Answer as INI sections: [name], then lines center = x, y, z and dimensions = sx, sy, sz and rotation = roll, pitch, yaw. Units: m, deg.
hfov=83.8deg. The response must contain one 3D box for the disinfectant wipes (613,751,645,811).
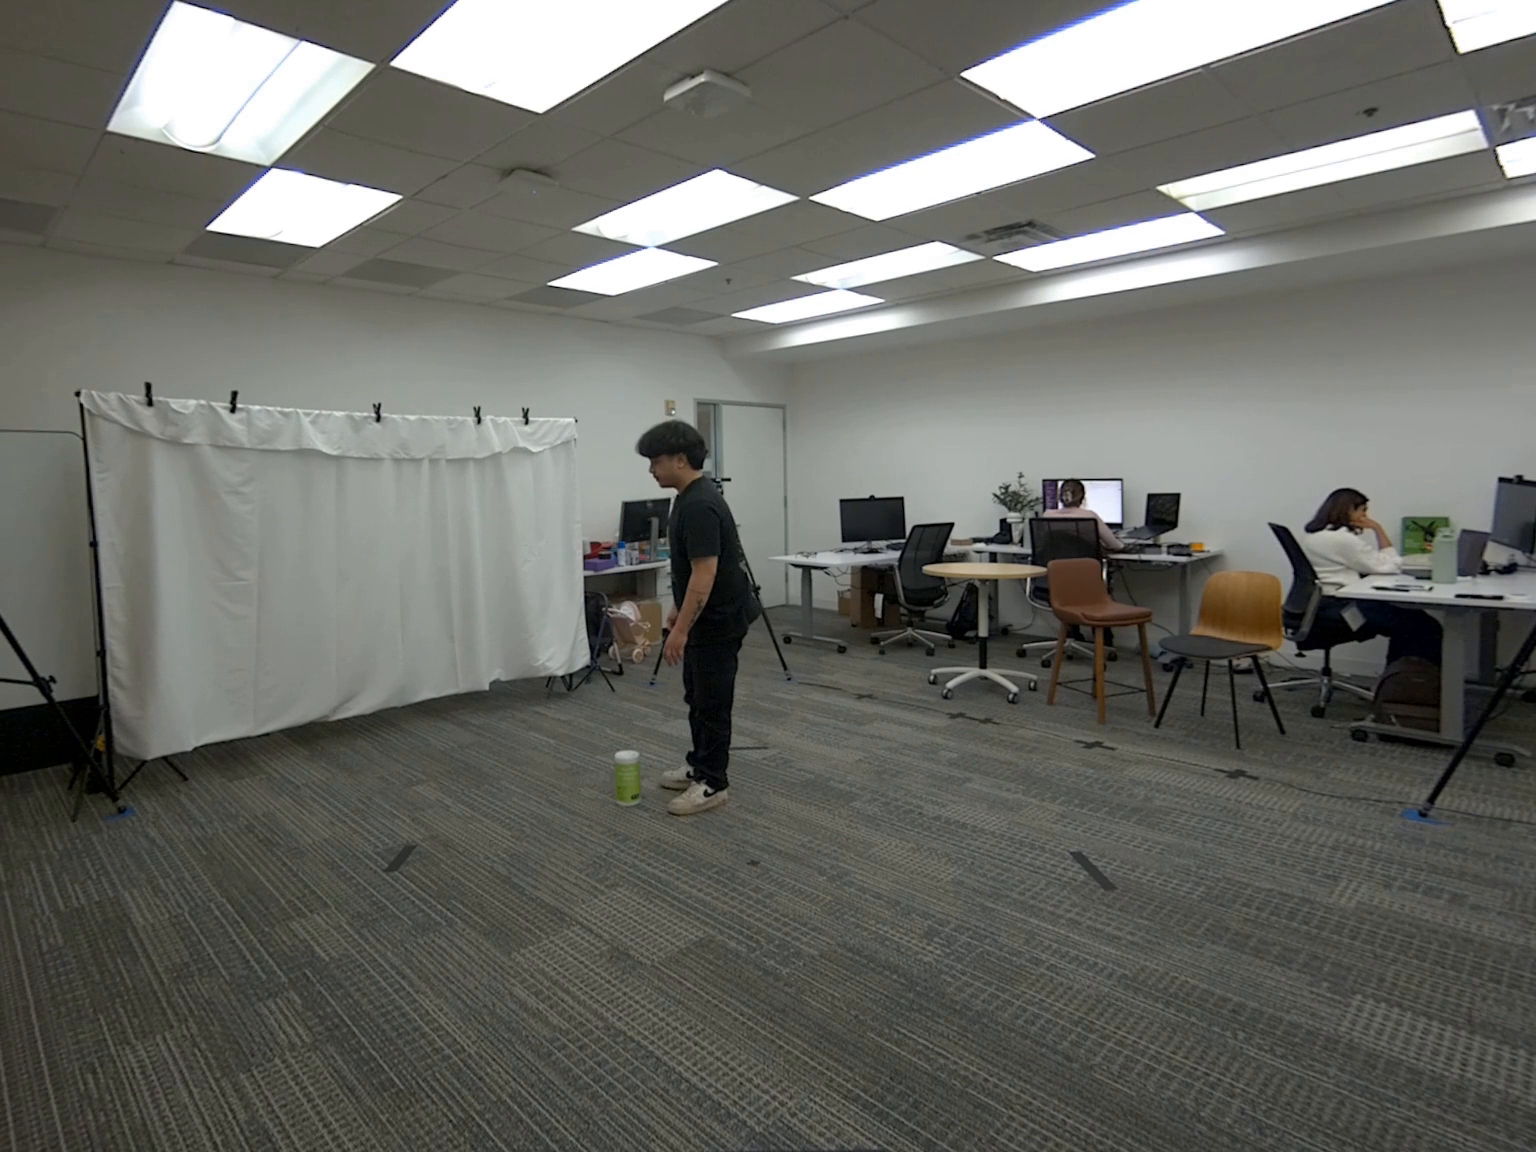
[disinfectant wipes]
center = -0.605, 0.883, 3.715
dimensions = 0.118, 0.217, 0.118
rotation = -1, 2, -2
